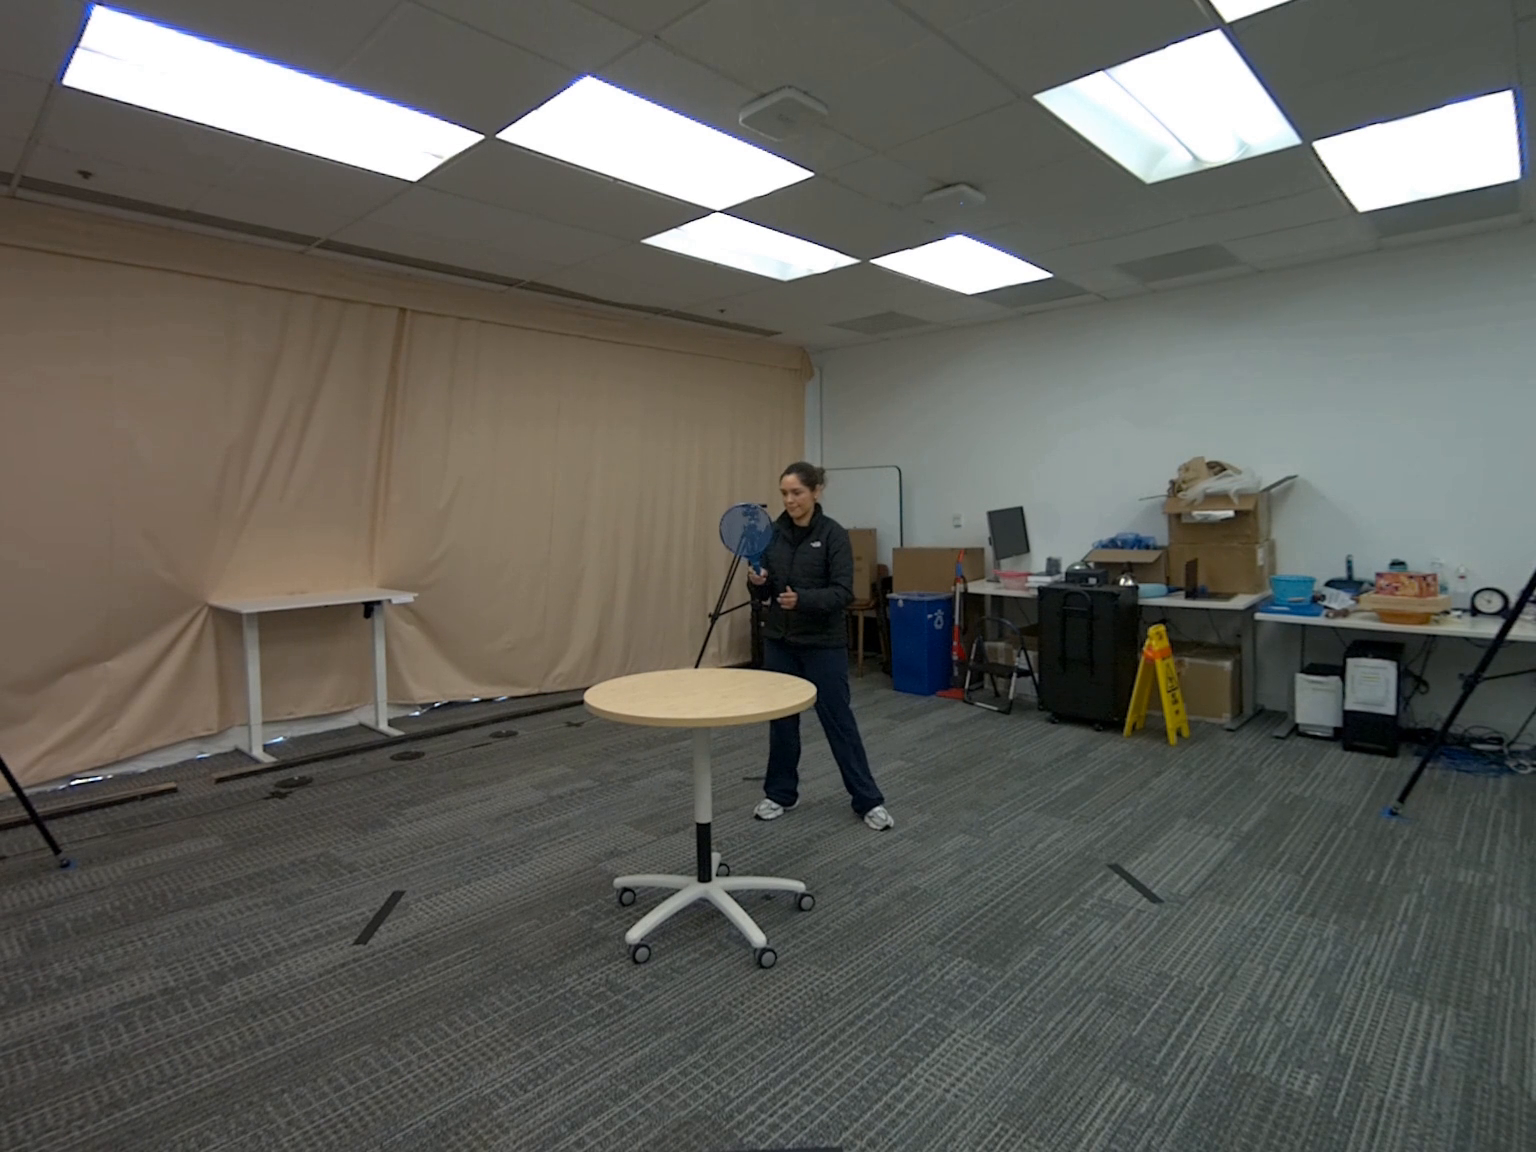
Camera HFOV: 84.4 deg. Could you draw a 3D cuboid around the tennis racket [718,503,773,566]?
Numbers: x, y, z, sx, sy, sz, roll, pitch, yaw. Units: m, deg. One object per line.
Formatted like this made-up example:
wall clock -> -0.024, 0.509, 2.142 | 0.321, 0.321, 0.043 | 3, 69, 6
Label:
tennis racket -> -0.060, -0.119, 3.393 | 0.215, 0.422, 0.032 | -10, 39, 5
